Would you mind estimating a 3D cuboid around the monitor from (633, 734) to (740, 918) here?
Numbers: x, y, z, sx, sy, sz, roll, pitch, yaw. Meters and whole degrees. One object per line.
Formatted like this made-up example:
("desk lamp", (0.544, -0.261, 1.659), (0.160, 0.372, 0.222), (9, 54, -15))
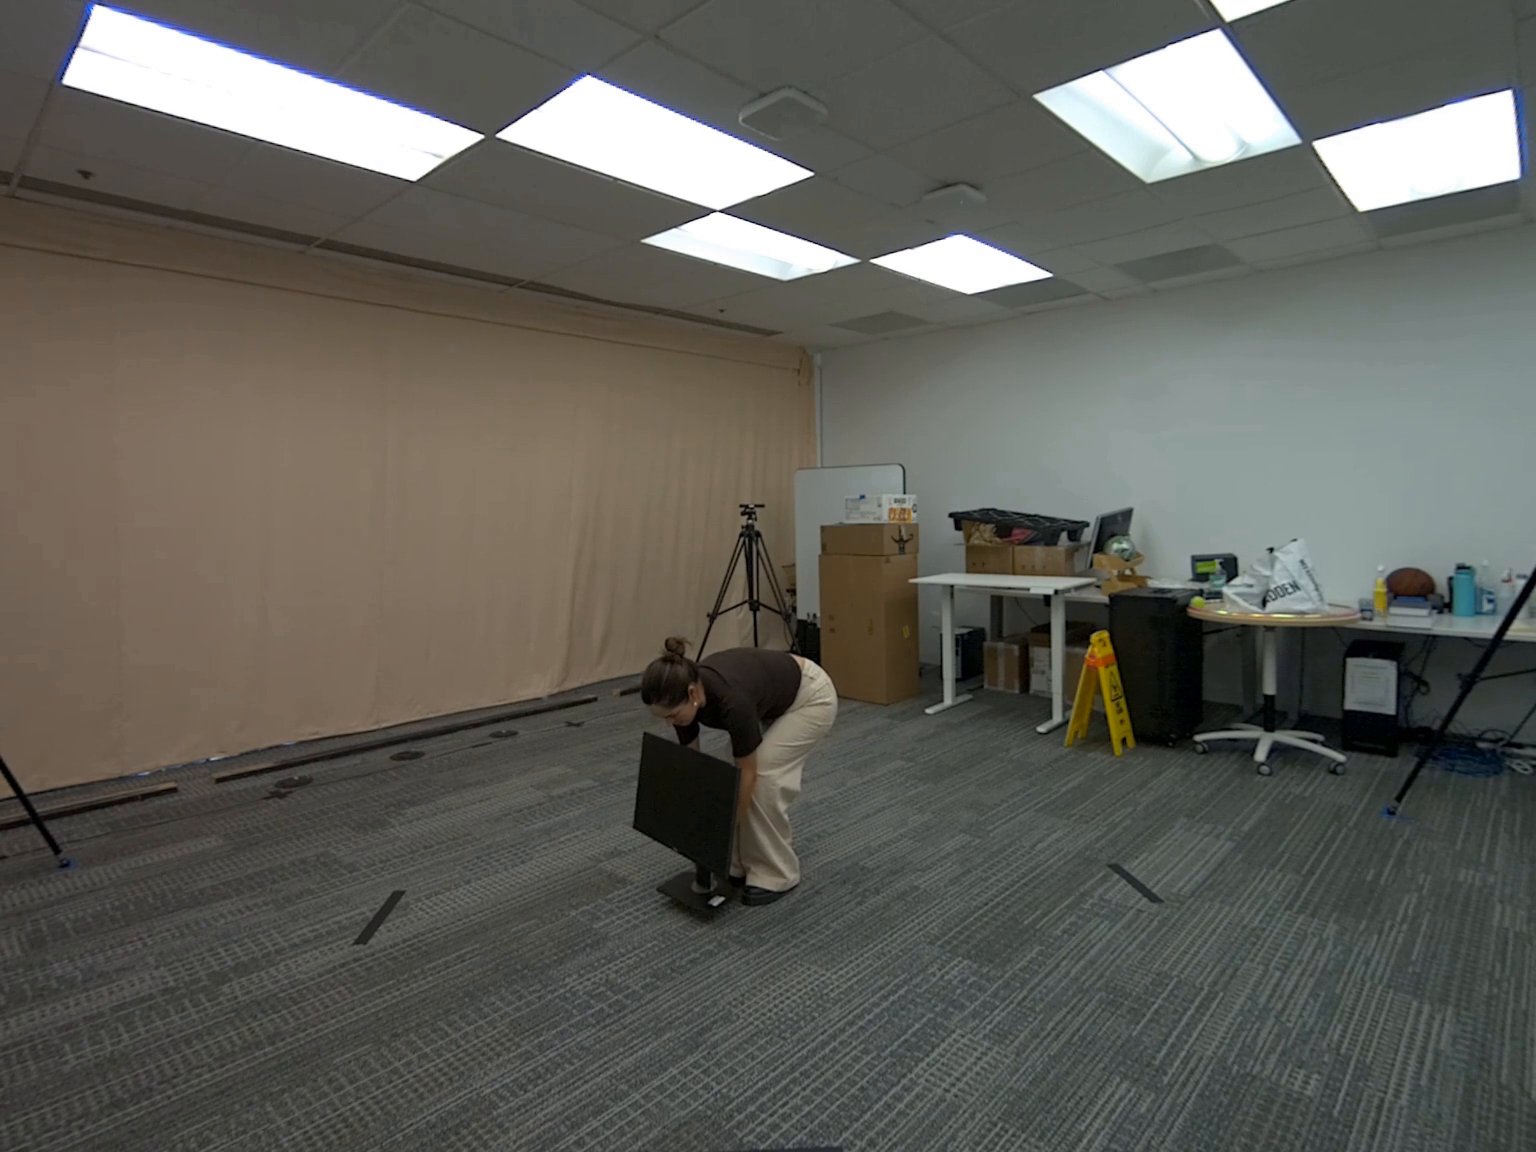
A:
("monitor", (-0.264, 0.848, 2.878), (0.182, 0.520, 0.557), (-10, 10, -41))
